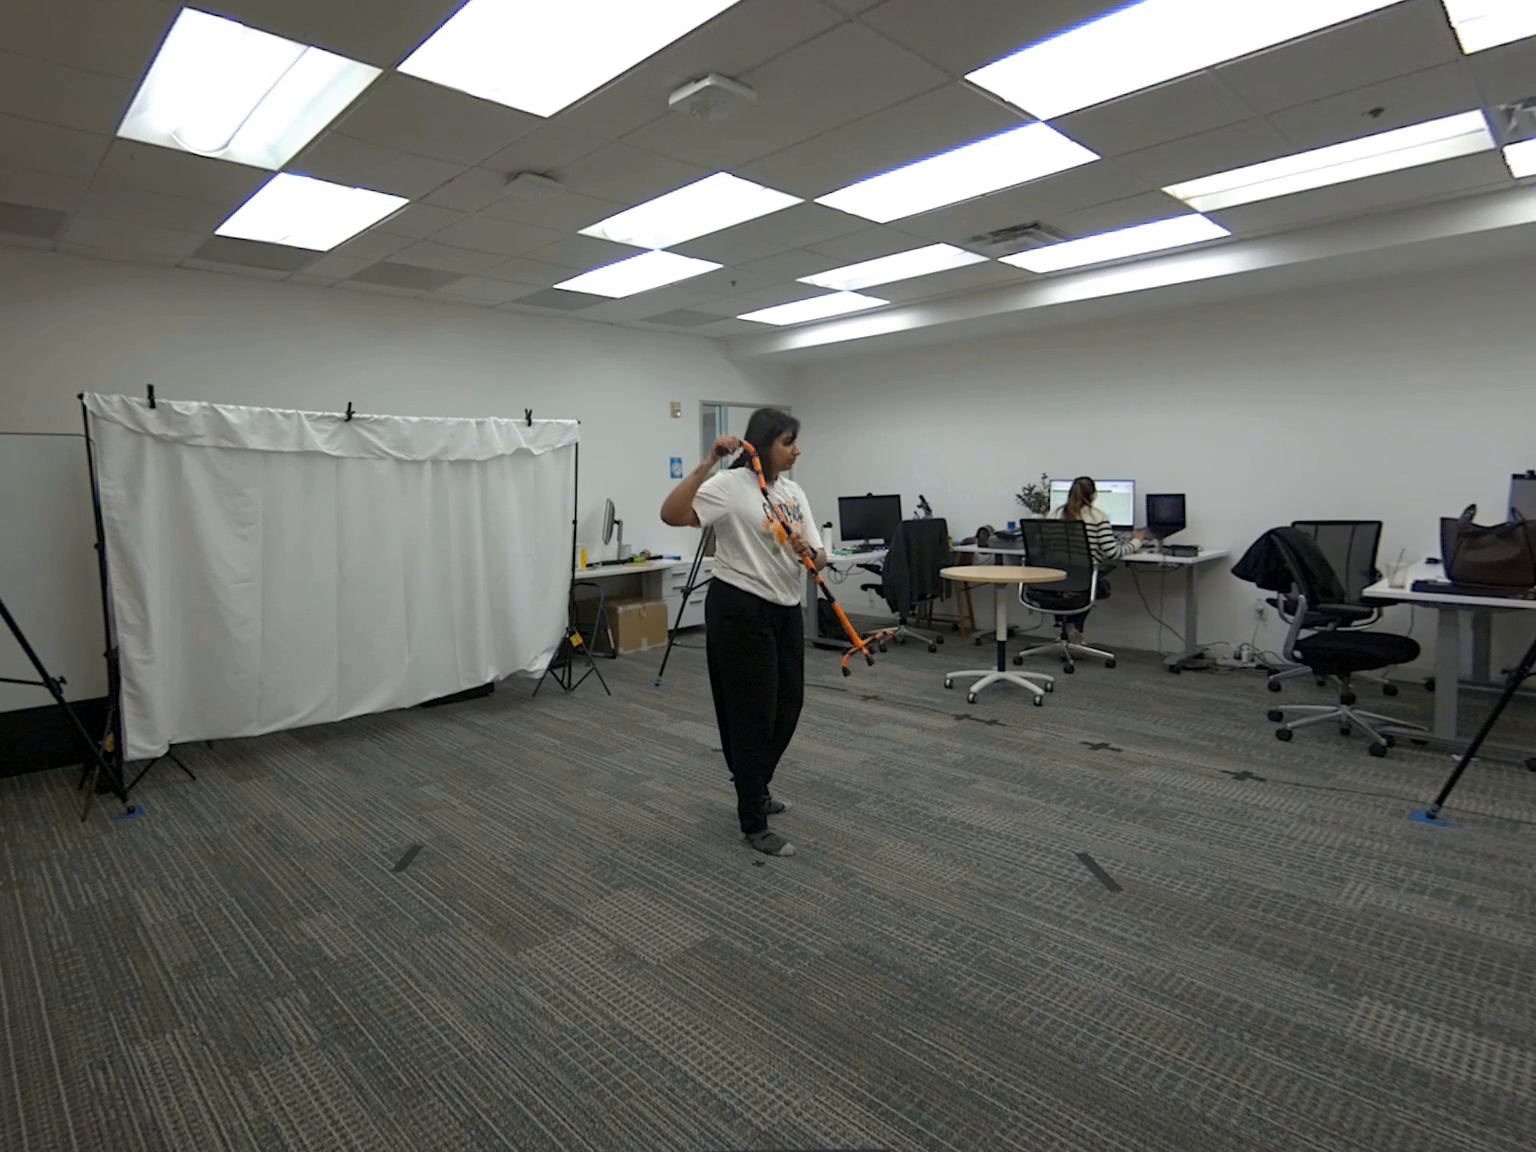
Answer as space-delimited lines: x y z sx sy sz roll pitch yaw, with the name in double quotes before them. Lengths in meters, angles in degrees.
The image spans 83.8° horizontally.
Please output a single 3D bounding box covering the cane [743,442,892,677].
"cane" 0.117 -0.078 3.015 0.153 0.909 0.204 -32 -1 44
